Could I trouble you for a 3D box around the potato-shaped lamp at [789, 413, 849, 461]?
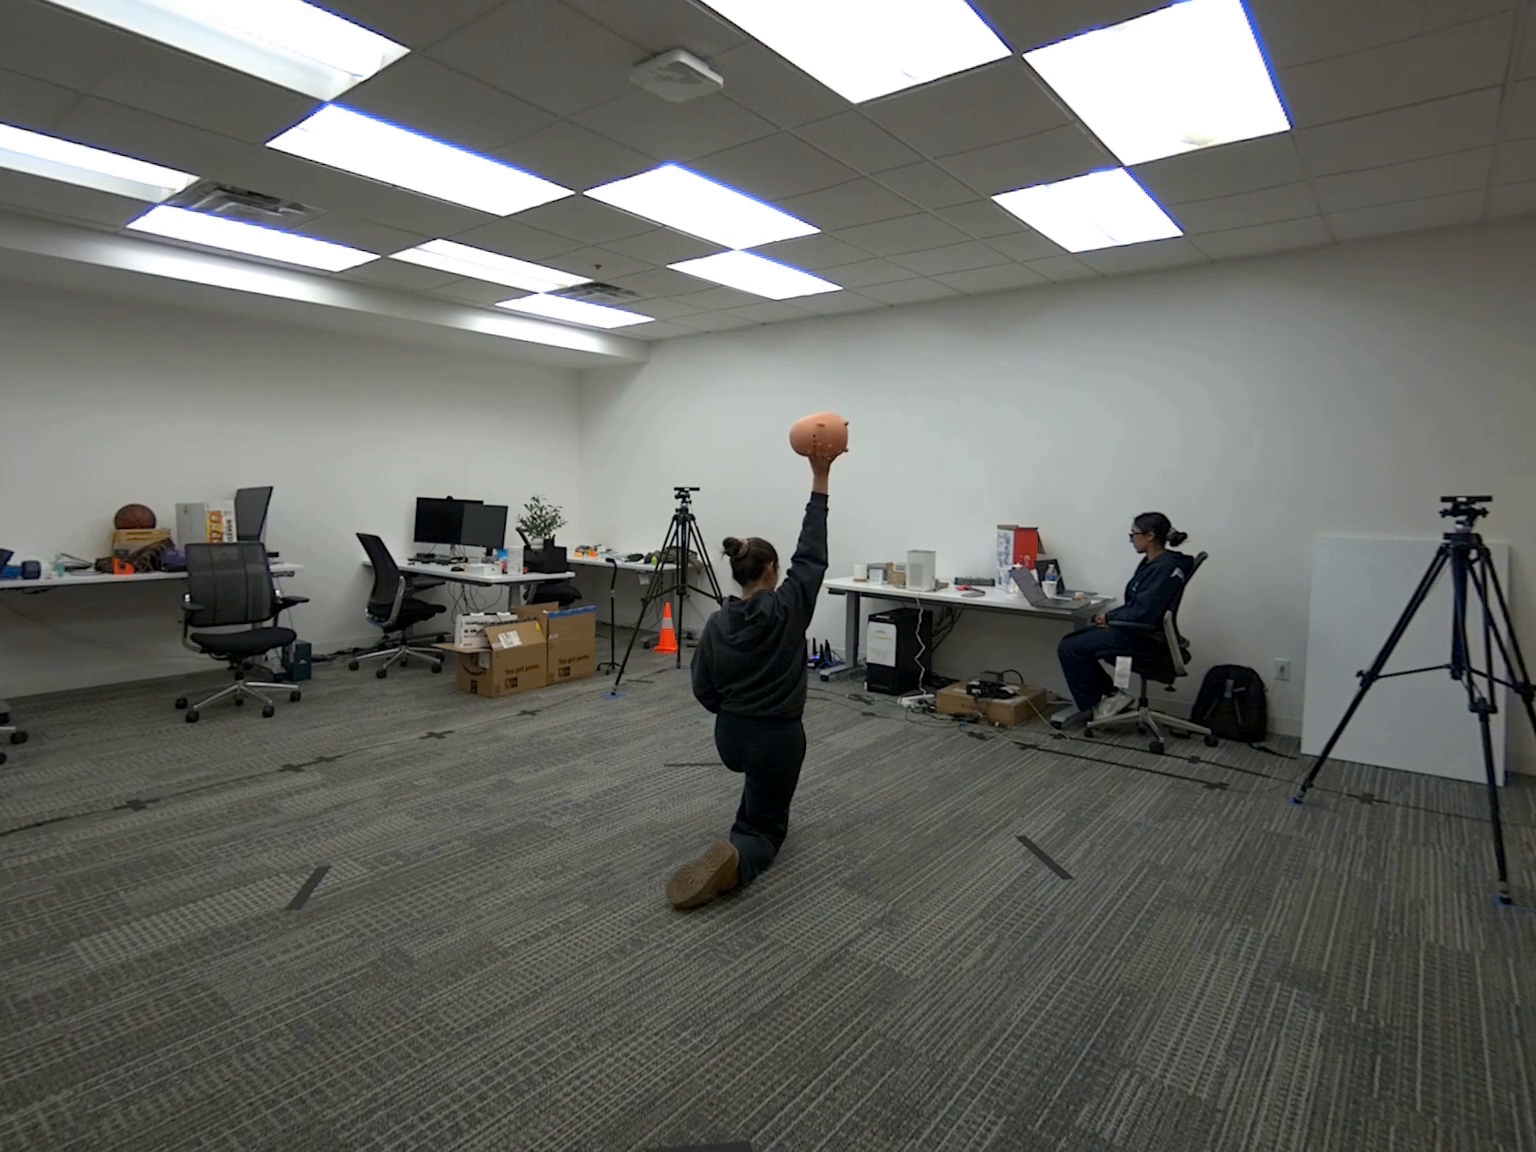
[{"bbox_3d":[0.178,-0.507,3.056,0.195,0.161,0.178,-12,29,-22],"label":"potato-shaped lamp"}]
